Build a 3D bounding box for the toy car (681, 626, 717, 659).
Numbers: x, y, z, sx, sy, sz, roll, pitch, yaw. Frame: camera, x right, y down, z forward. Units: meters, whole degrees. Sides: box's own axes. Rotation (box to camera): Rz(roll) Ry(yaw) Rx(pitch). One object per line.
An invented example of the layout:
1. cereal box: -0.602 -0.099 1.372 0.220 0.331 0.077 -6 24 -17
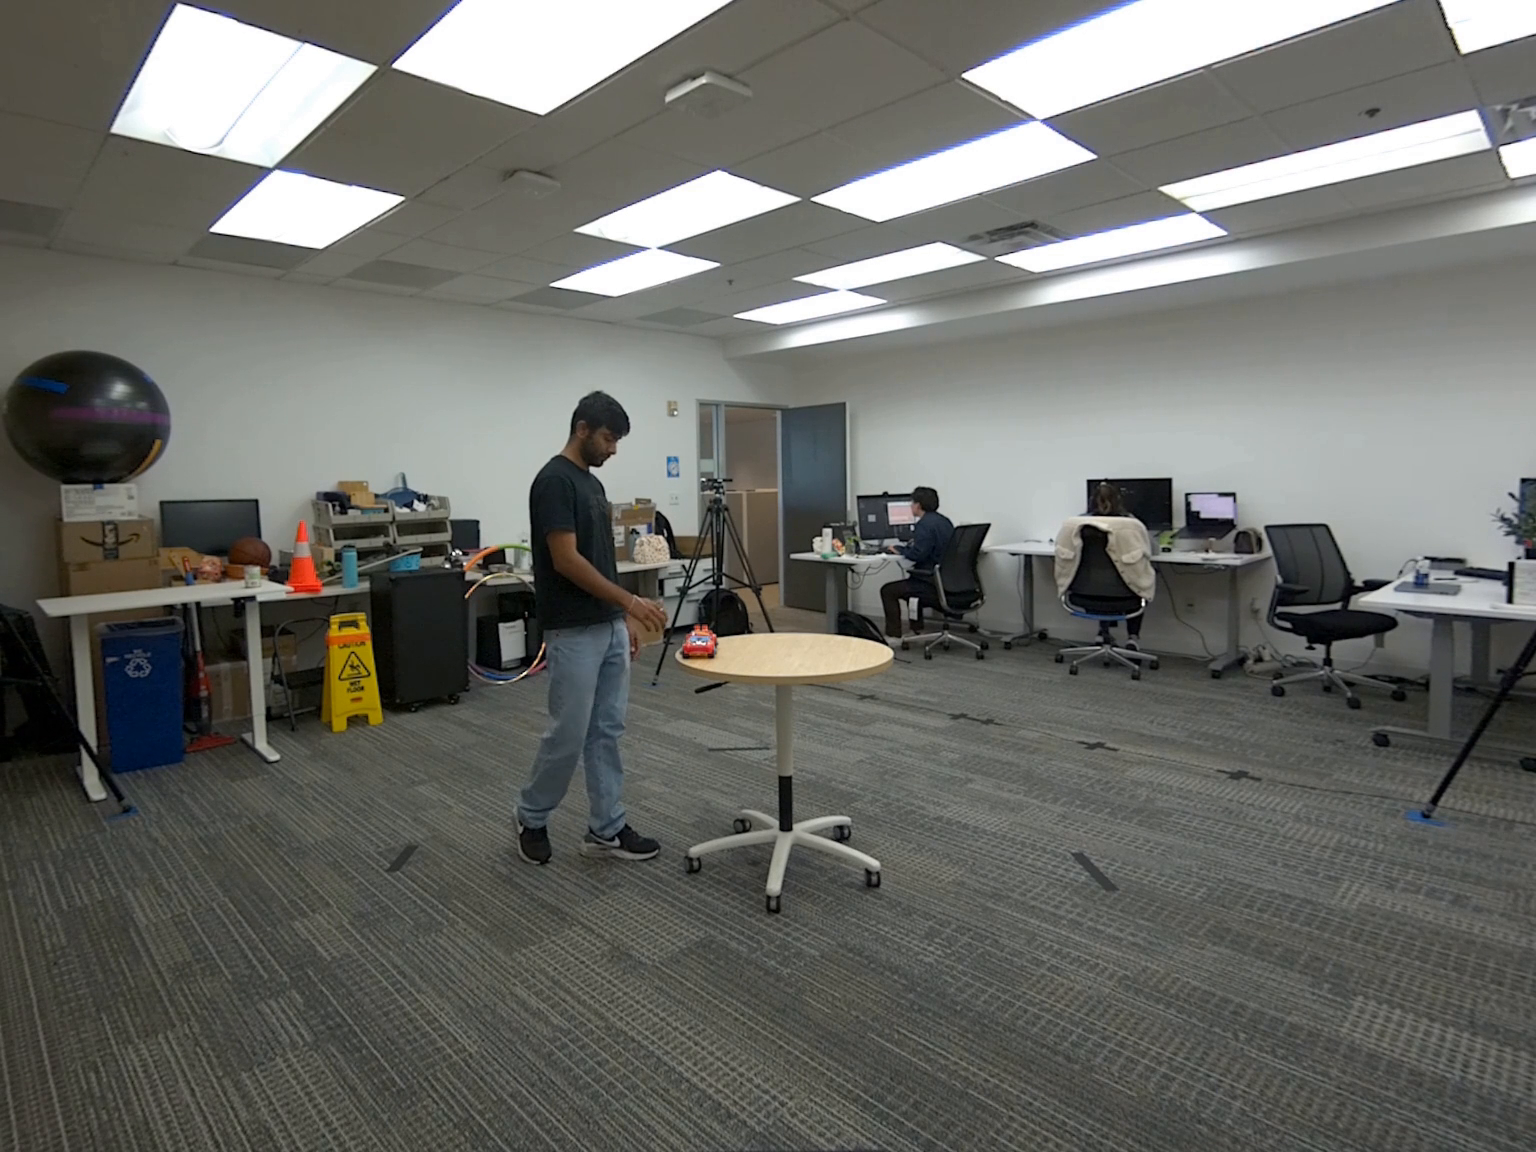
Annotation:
1. toy car: -0.243 0.242 3.039 0.130 0.082 0.258 -1 17 0
